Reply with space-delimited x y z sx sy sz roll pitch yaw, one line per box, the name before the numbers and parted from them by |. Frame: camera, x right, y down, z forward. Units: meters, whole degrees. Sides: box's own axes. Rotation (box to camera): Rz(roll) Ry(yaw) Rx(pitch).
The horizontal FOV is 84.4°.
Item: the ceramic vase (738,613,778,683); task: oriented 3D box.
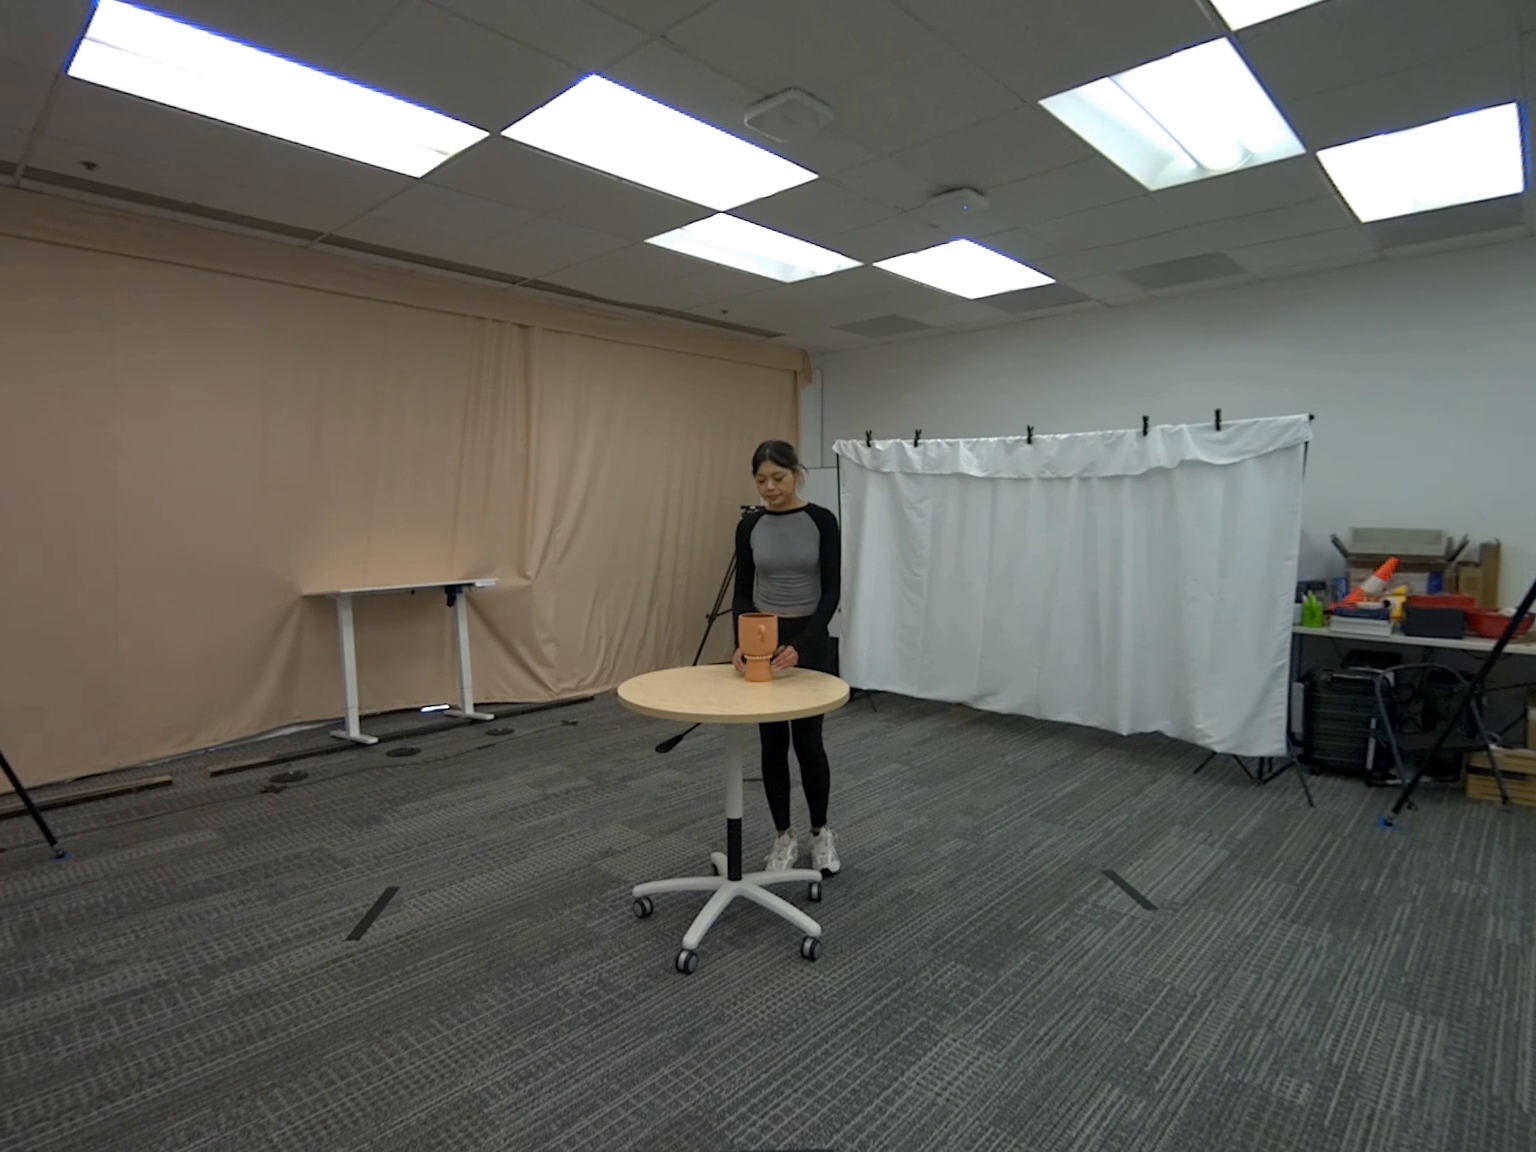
ceramic vase | -0.028 0.243 2.901 0.138 0.219 0.154 2 4 31
